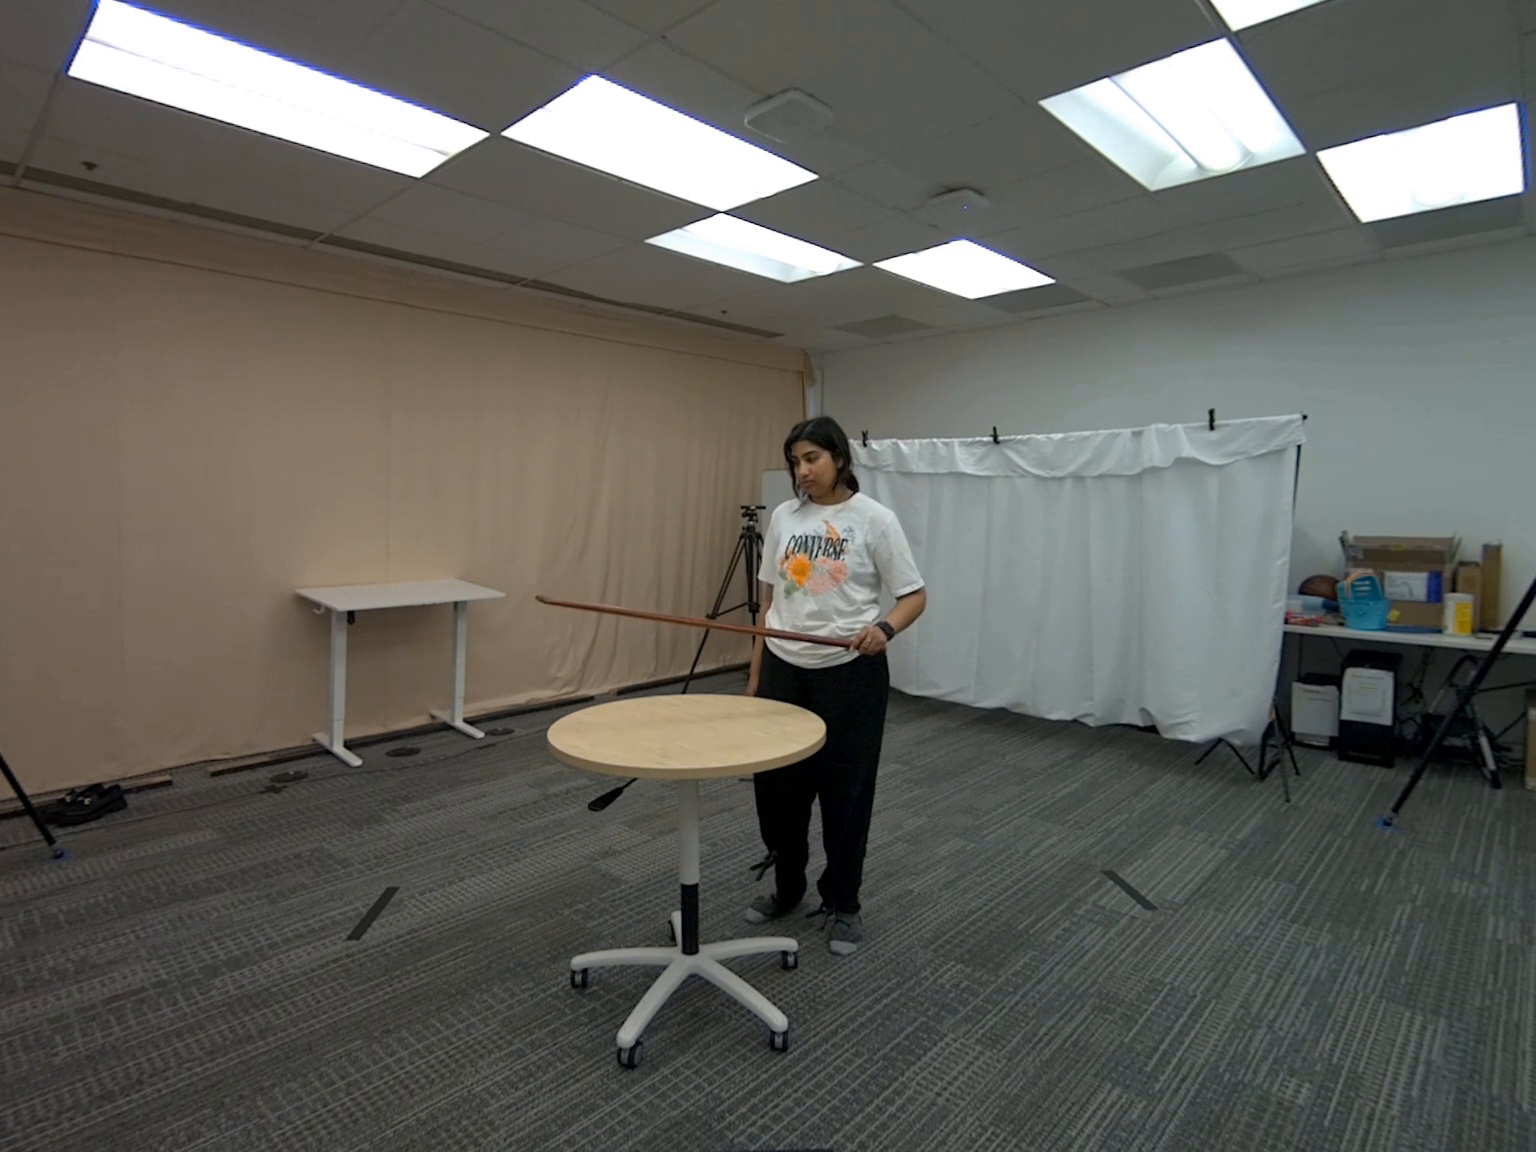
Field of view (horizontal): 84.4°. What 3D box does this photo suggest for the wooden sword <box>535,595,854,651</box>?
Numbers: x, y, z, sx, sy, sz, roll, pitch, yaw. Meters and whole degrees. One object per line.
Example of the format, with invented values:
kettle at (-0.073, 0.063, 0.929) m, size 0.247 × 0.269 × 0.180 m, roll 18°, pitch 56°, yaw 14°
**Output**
wooden sword at (-0.086, 0.150, 2.269) m, size 1.005 × 0.024 × 0.052 m, roll 10°, pitch -11°, yaw -16°
